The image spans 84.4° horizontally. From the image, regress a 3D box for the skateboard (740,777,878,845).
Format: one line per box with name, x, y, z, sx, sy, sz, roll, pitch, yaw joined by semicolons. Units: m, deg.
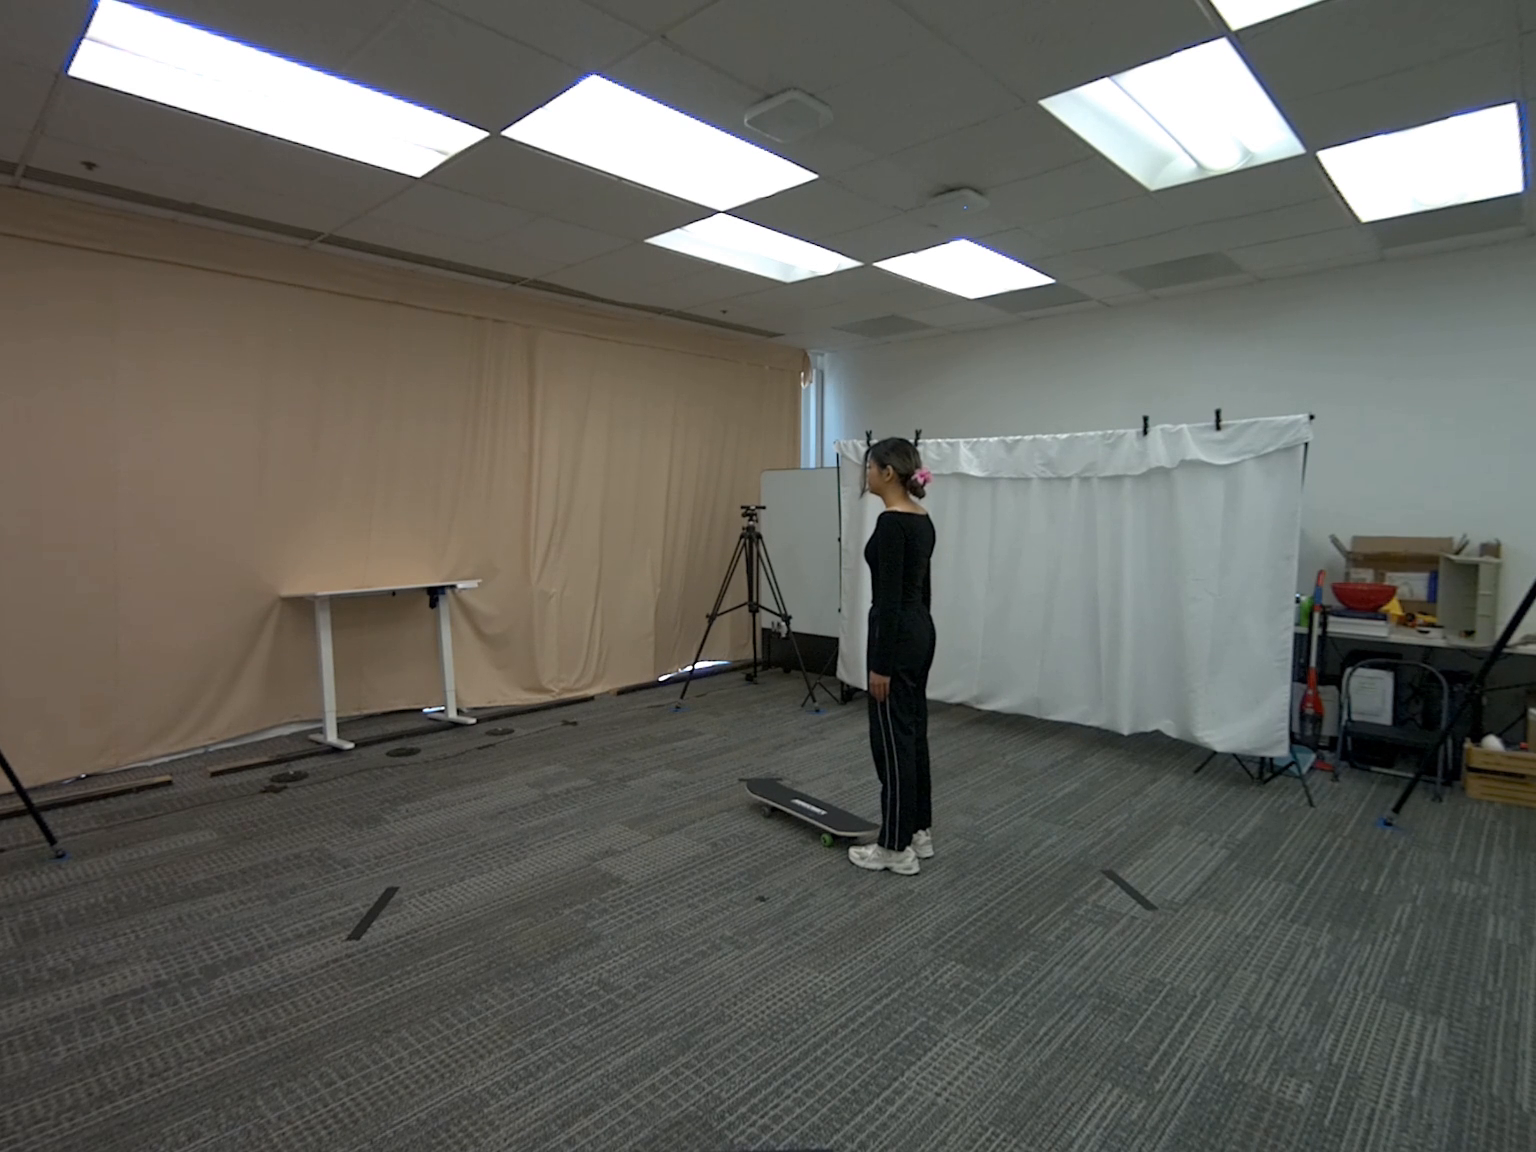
skateboard;0.178;1.028;3.651;0.188;0.110;0.811;-2;5;-37
